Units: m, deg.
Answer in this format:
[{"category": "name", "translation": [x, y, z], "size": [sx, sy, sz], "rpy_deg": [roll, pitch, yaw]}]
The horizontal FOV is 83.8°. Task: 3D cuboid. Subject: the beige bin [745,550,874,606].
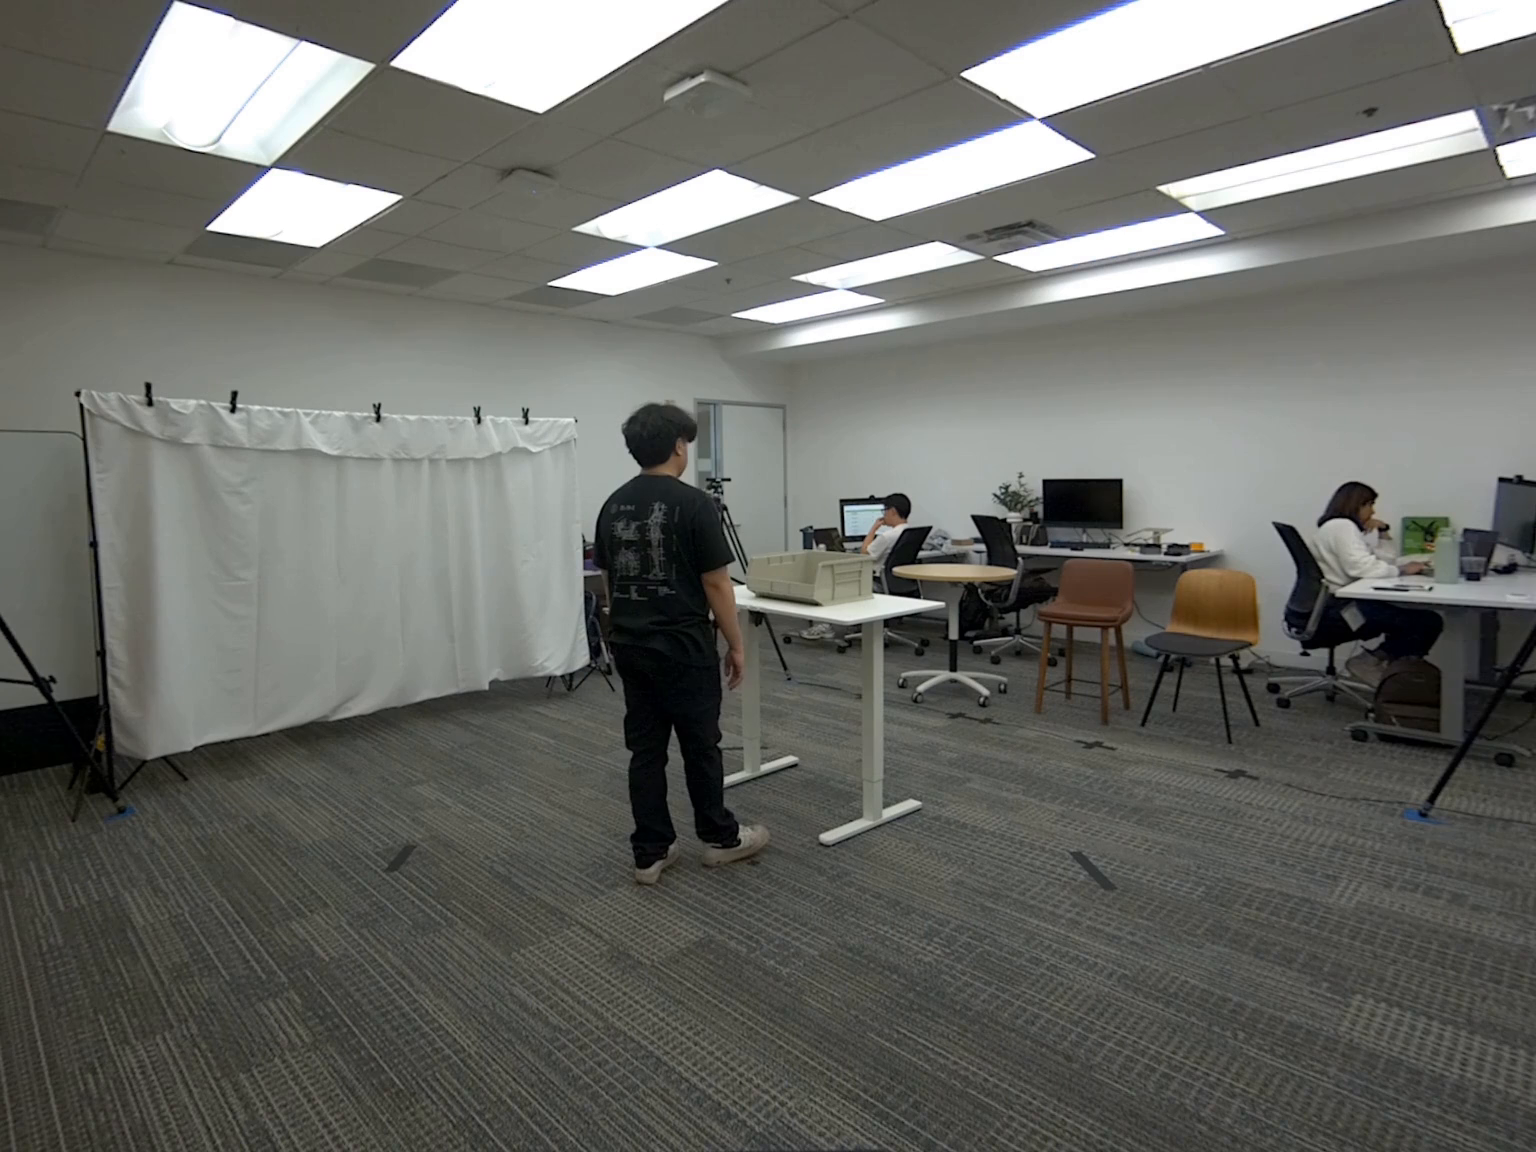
[{"category": "beige bin", "translation": [0.183, 0.008, 3.645], "size": [0.367, 0.188, 0.435], "rpy_deg": [-6, 8, -41]}]
